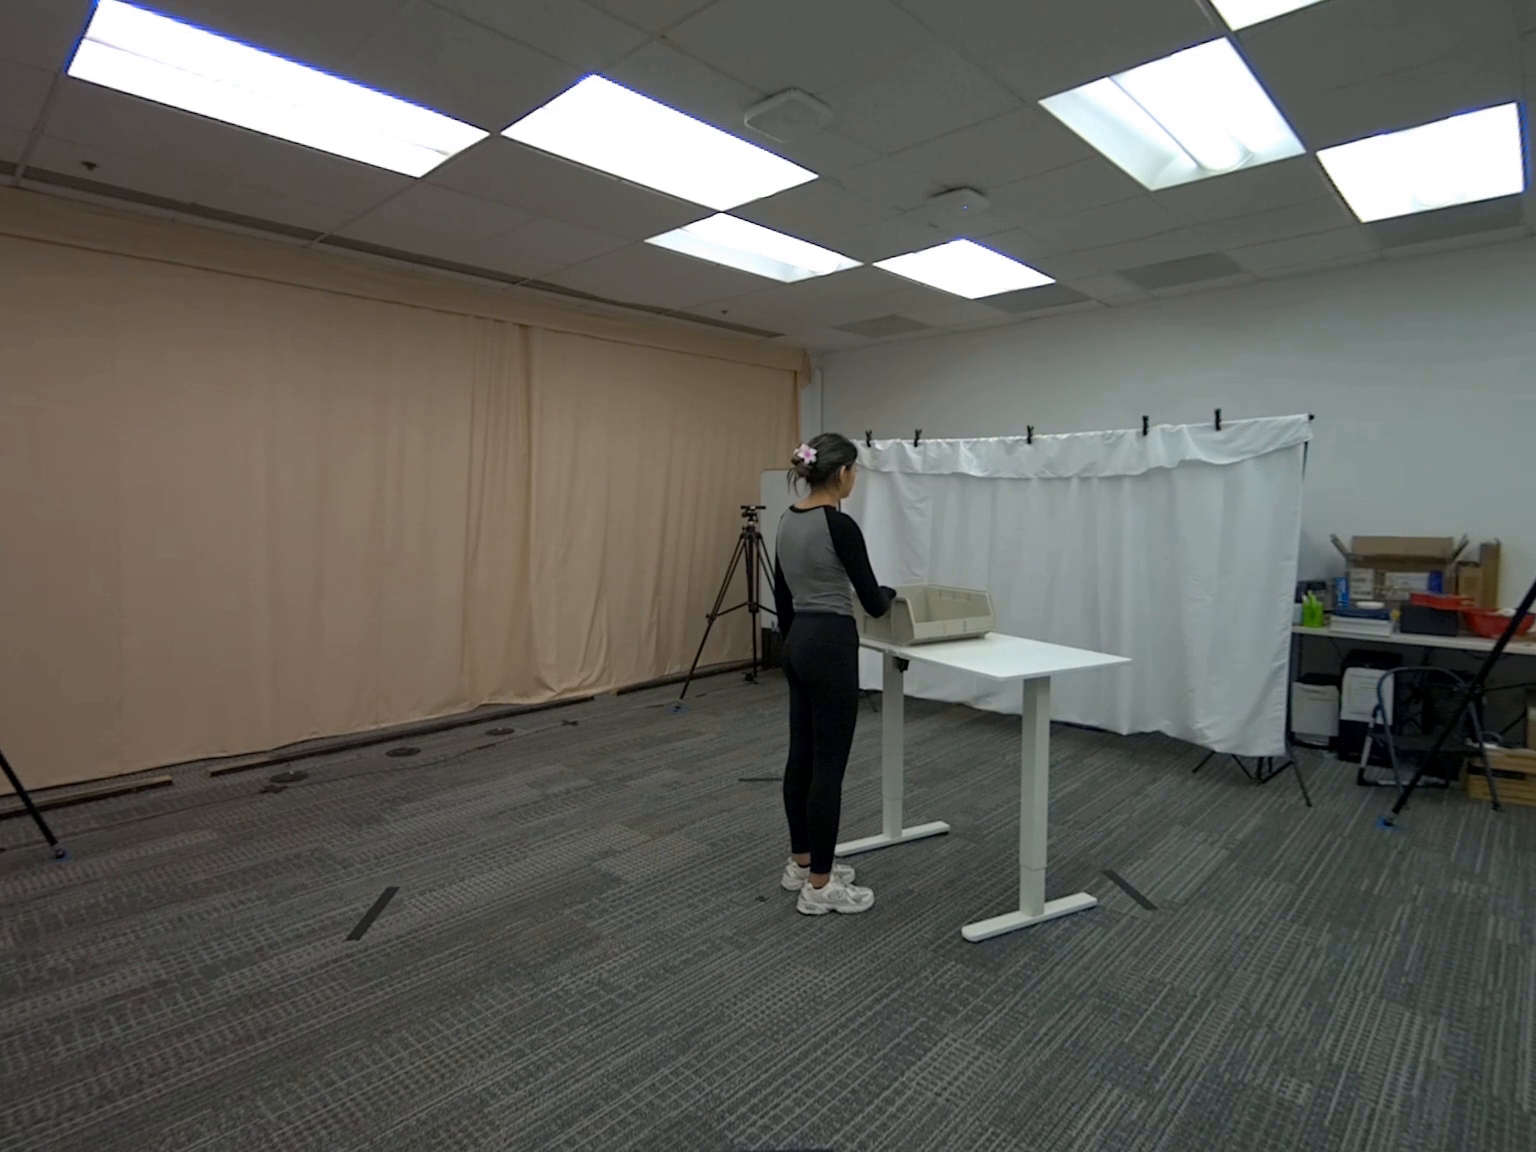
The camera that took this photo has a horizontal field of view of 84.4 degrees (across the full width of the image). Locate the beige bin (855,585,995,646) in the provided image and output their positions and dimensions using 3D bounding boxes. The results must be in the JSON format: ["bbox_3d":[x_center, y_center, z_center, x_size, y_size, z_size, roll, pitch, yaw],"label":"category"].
[{"bbox_3d":[0.593,0.150,3.240,0.411,0.188,0.388,-4,4,-31],"label":"beige bin"}]
